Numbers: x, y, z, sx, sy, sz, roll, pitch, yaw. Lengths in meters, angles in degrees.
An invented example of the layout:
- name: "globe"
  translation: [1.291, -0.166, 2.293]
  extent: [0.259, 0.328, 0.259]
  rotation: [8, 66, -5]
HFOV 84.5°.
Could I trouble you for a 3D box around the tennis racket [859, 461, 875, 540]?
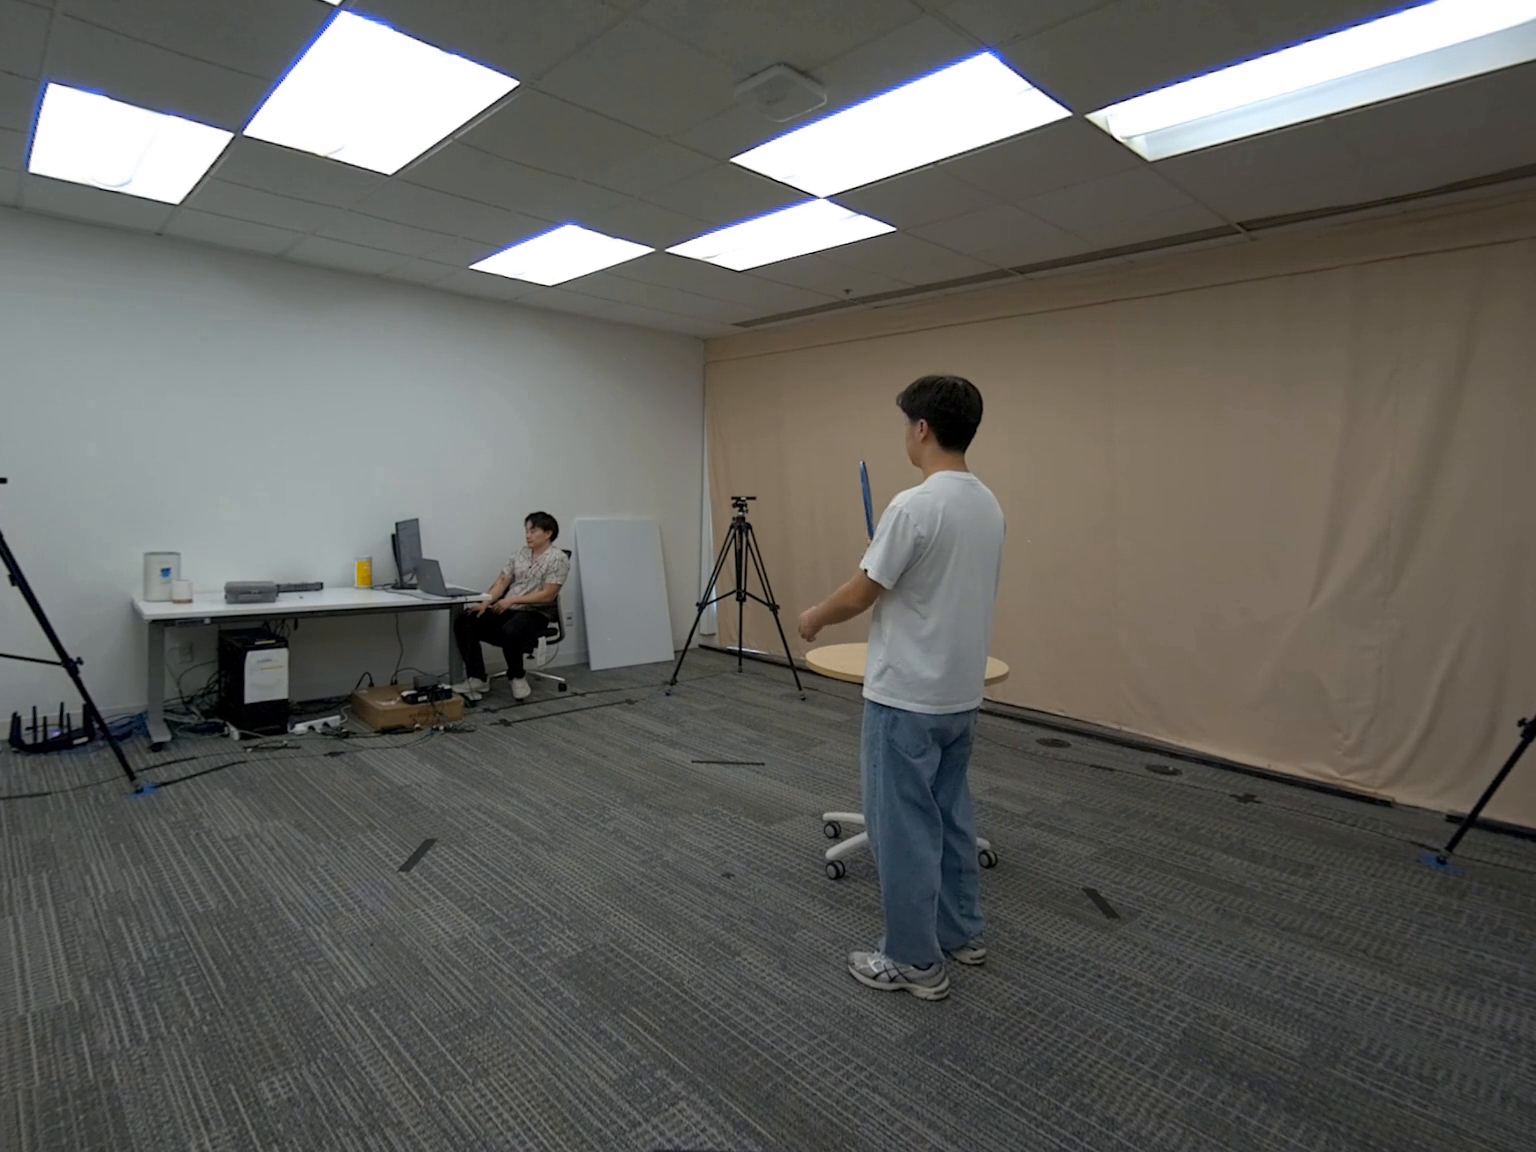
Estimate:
- name: "tennis racket"
  translation: [0.343, -0.214, 2.970]
  extent: [0.032, 0.441, 0.208]
  rotation: [-4, -31, 10]
